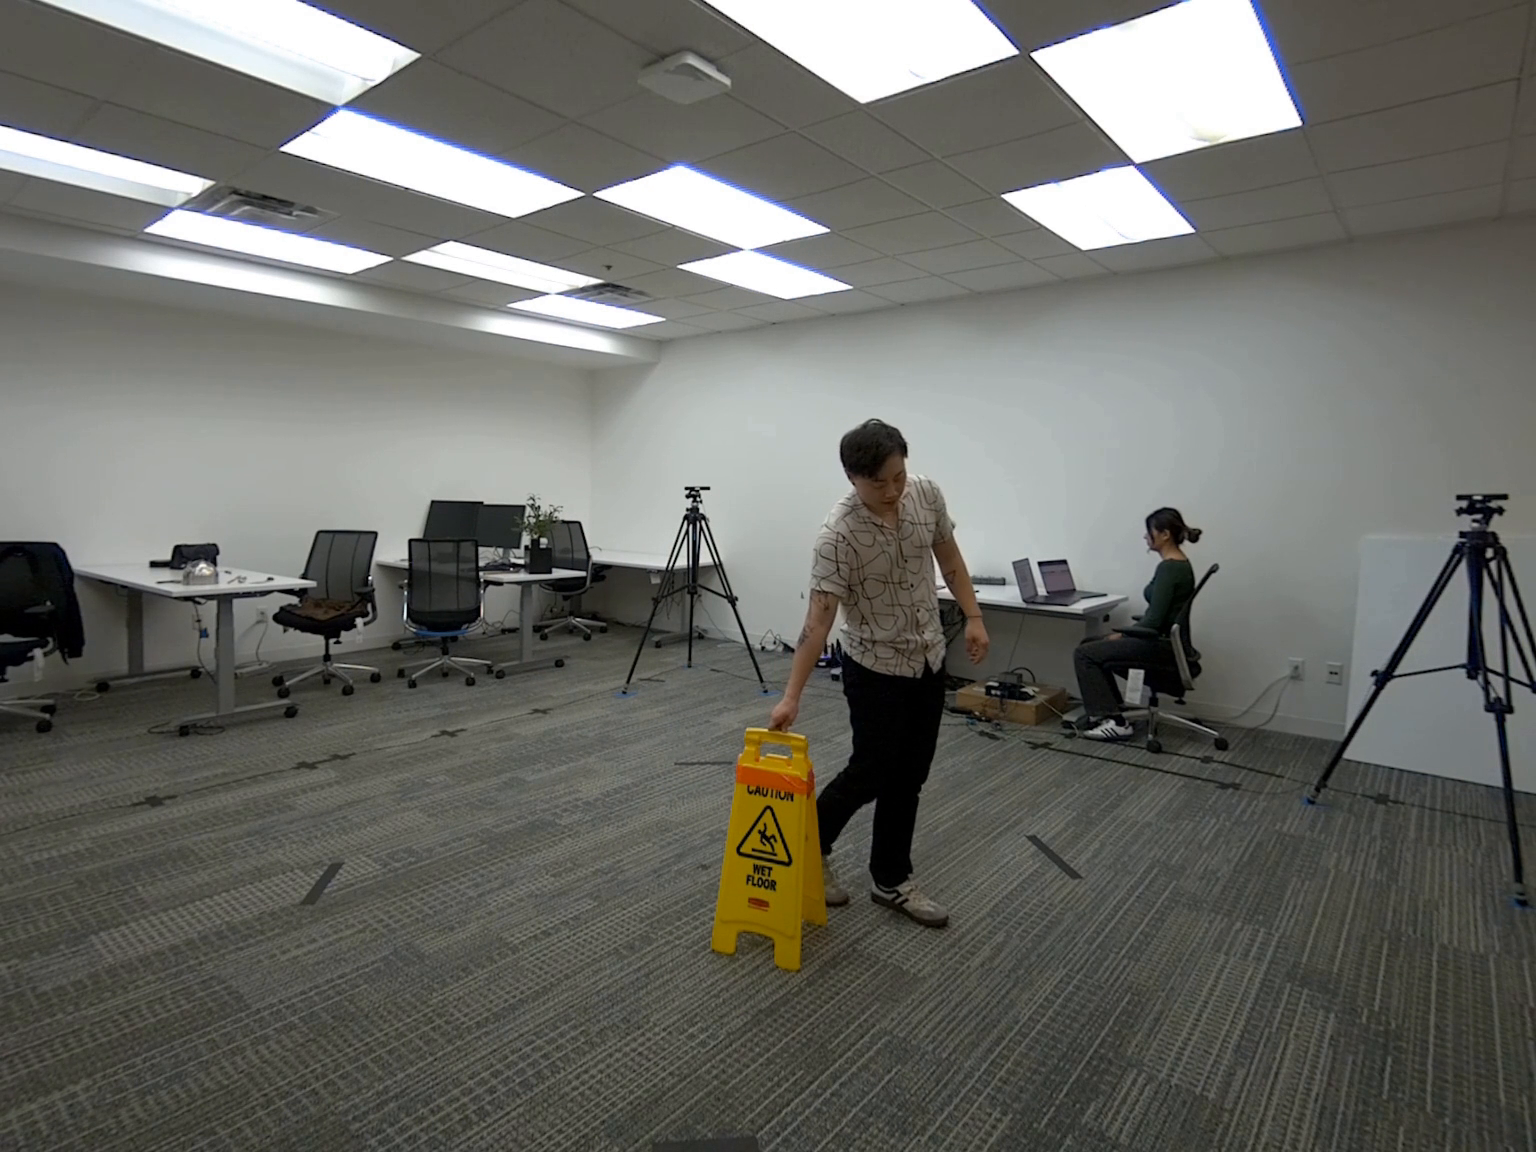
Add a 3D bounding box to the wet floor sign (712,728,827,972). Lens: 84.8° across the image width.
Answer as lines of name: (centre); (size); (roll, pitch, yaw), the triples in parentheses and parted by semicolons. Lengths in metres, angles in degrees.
wet floor sign: (0.012, 0.792, 2.624); (0.289, 0.645, 0.284); (3, 2, 20)
